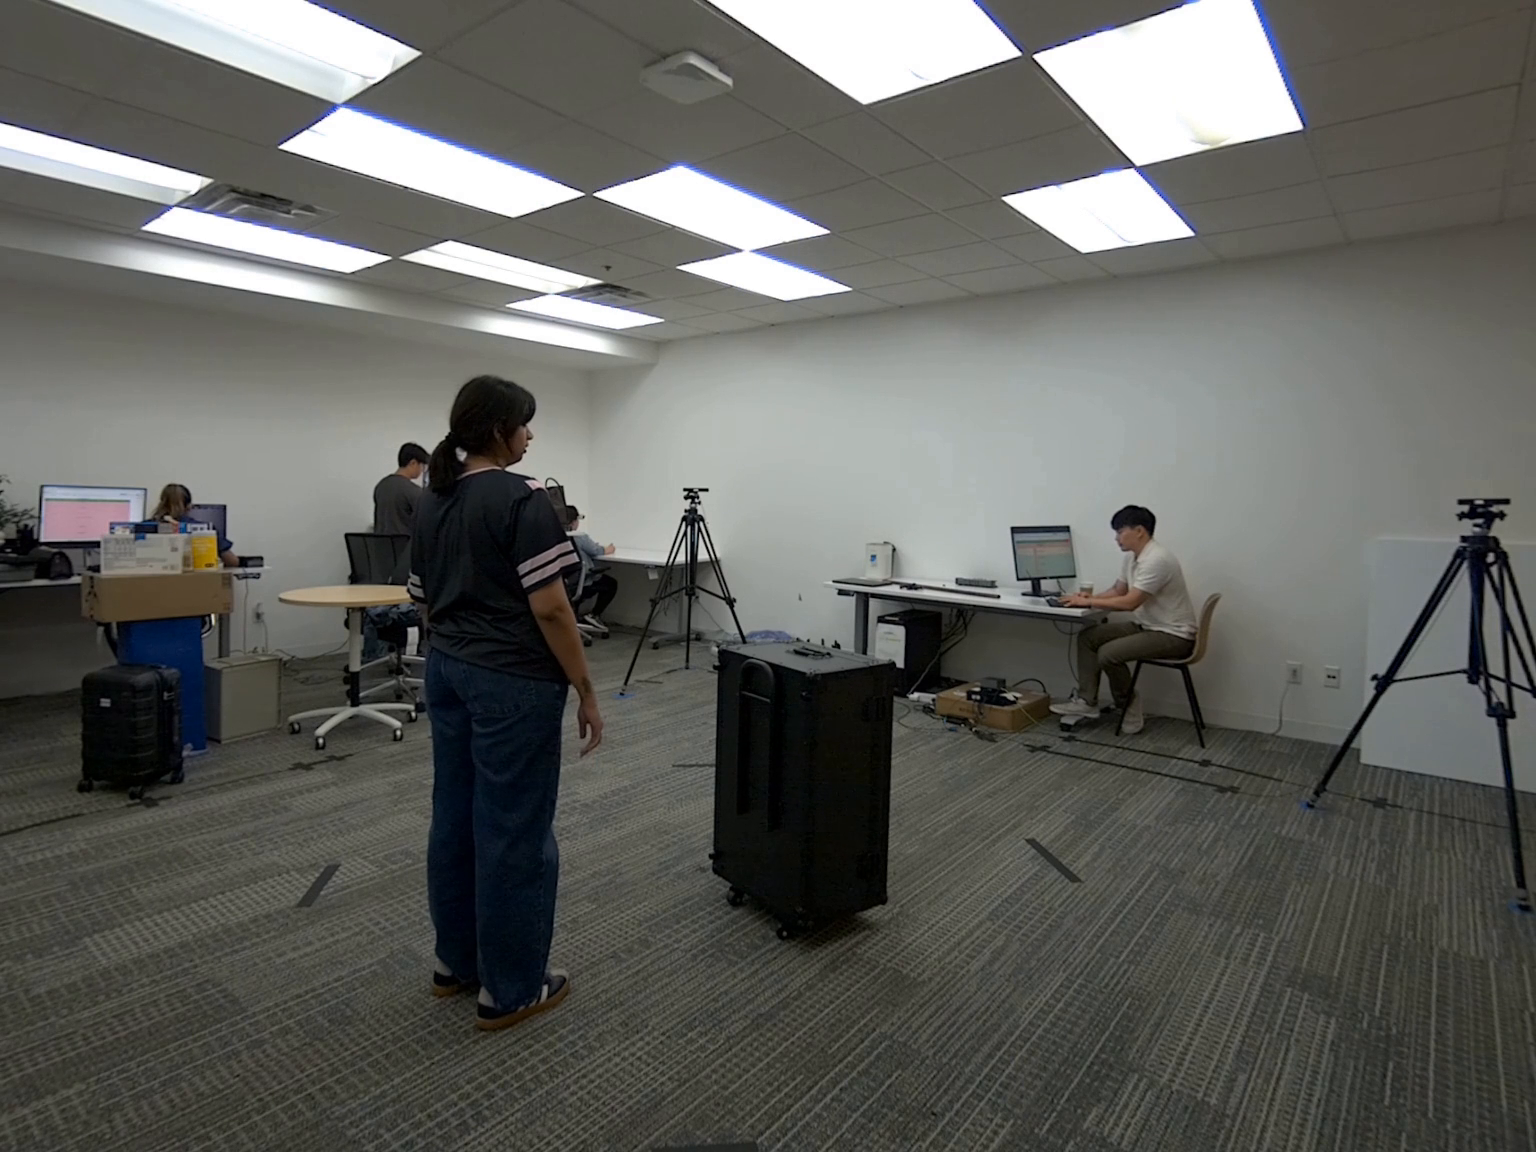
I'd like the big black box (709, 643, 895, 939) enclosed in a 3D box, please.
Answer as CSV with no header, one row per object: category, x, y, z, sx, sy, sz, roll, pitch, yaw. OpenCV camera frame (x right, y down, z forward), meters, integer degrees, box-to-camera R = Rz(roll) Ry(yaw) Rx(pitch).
big black box,0.100,0.684,2.803,0.373,0.866,0.541,-1,4,-39
